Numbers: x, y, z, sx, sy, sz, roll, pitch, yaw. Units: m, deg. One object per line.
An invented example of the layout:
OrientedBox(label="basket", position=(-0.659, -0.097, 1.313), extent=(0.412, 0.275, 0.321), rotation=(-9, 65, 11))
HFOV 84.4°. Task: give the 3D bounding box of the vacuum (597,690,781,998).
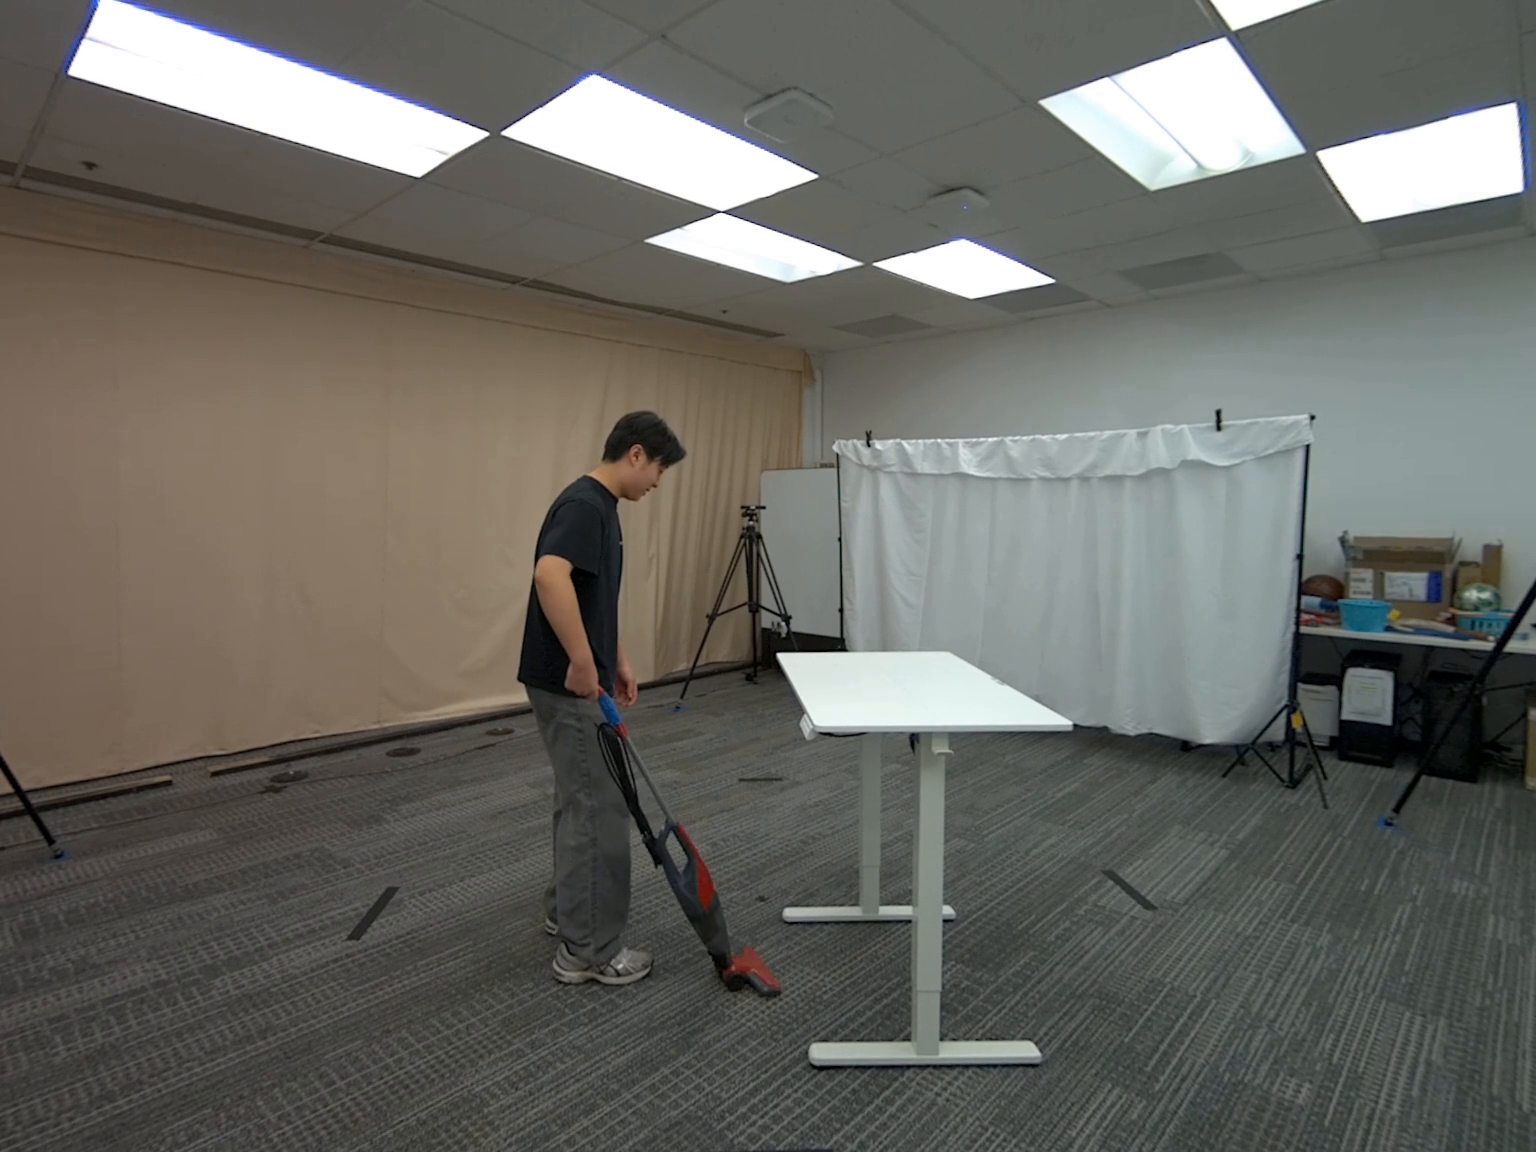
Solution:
OrientedBox(label="vacuum", position=(-0.283, 0.737, 2.389), extent=(0.142, 1.037, 0.258), rotation=(-30, 12, -17))
